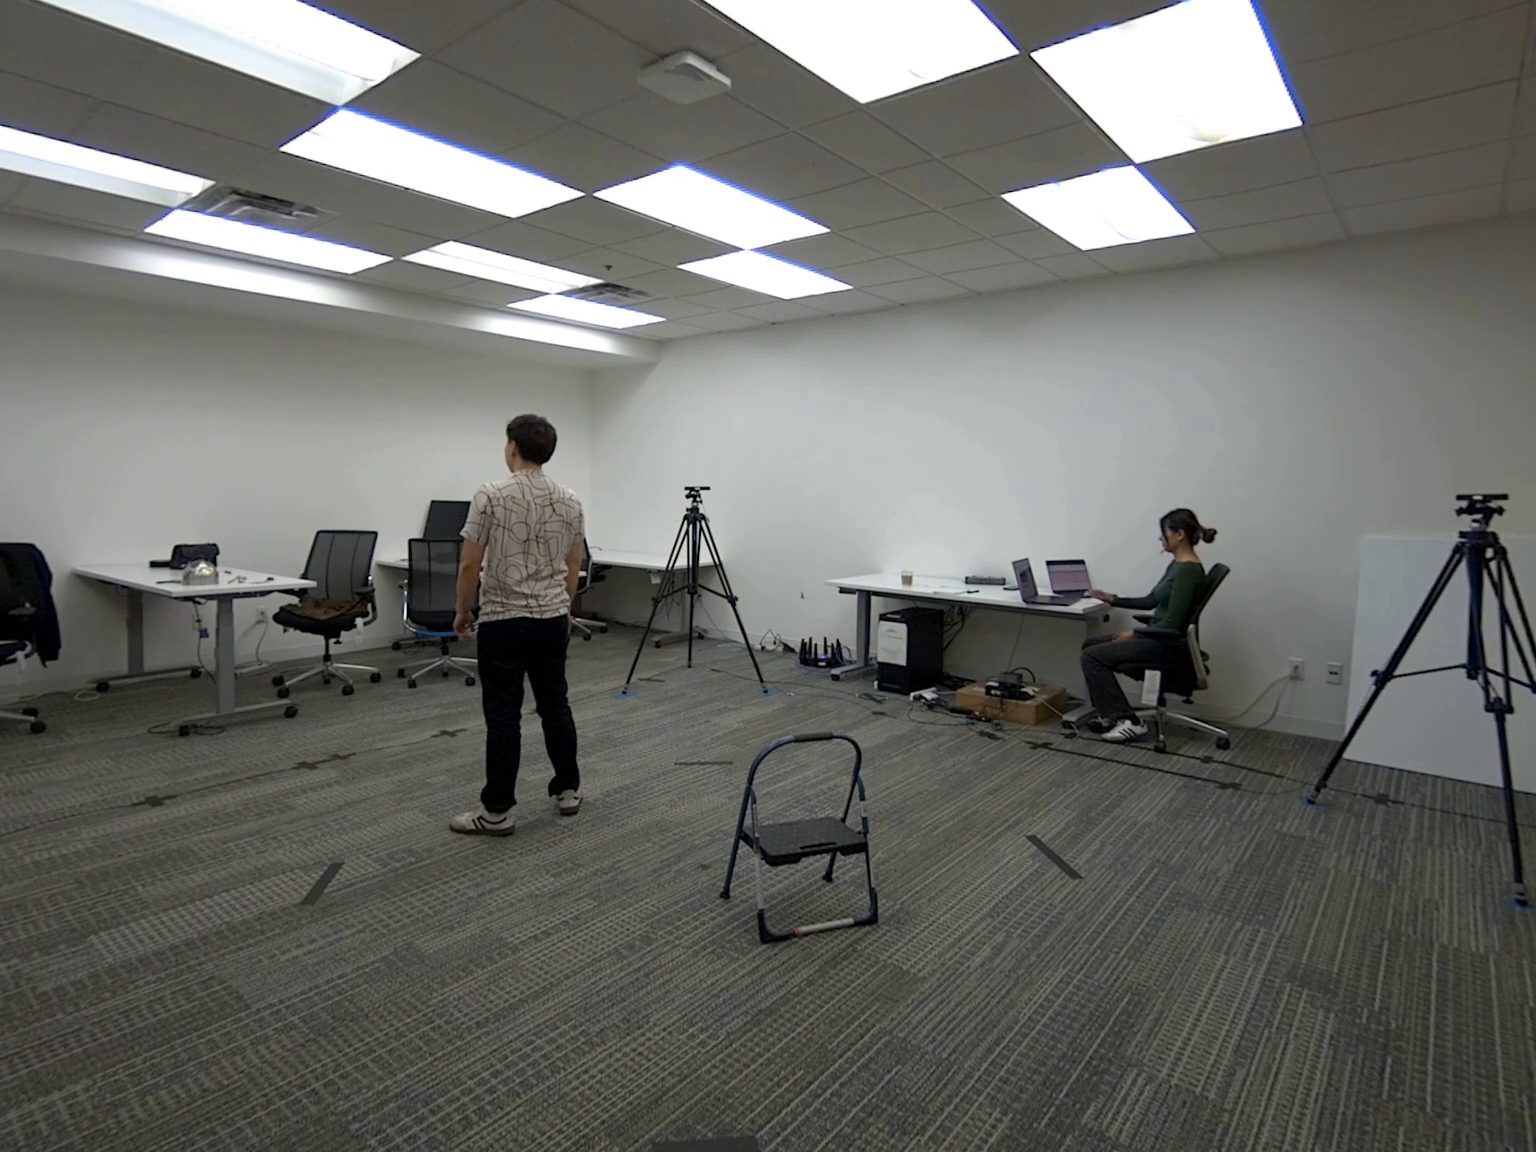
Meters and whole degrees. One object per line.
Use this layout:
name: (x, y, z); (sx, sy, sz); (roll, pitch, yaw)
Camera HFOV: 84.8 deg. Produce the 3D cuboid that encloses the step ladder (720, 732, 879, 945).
step ladder: (0.099, 0.798, 2.804); (0.421, 0.604, 0.358); (-1, 4, -24)
